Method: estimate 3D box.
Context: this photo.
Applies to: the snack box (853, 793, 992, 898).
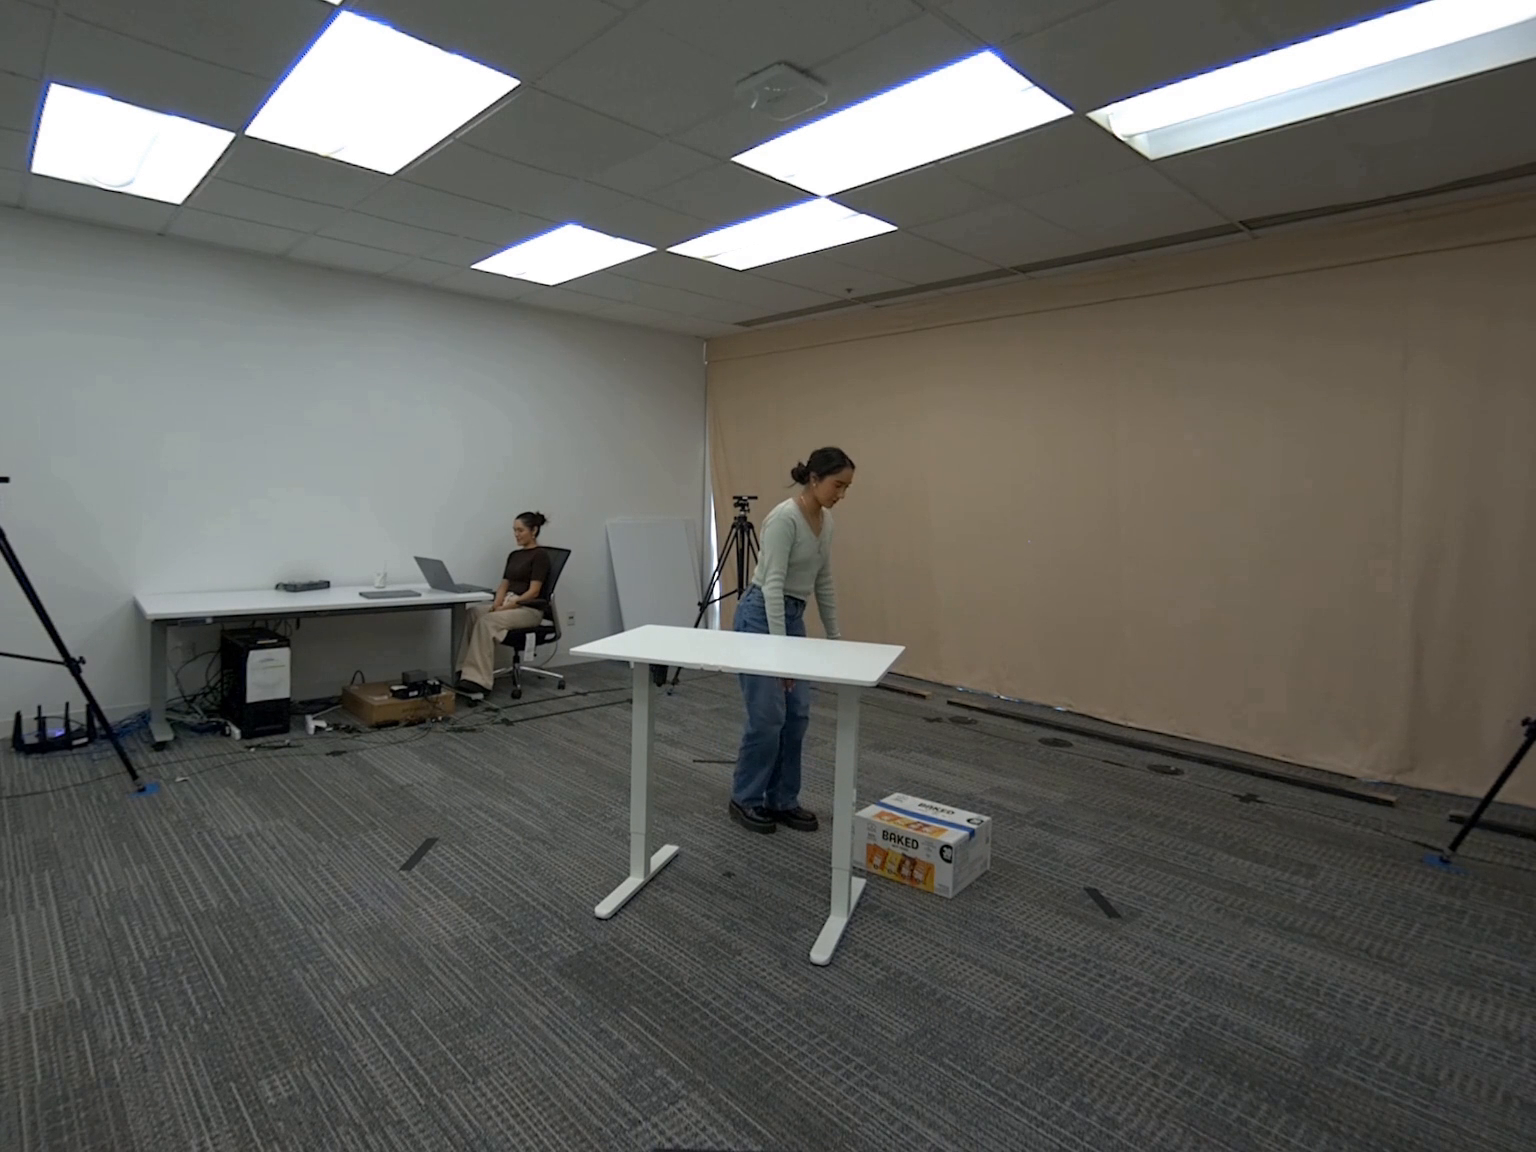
[{"bbox_3d":[0.577,1.013,3.196,0.415,0.205,0.333,5,6,38],"label":"snack box"}]
